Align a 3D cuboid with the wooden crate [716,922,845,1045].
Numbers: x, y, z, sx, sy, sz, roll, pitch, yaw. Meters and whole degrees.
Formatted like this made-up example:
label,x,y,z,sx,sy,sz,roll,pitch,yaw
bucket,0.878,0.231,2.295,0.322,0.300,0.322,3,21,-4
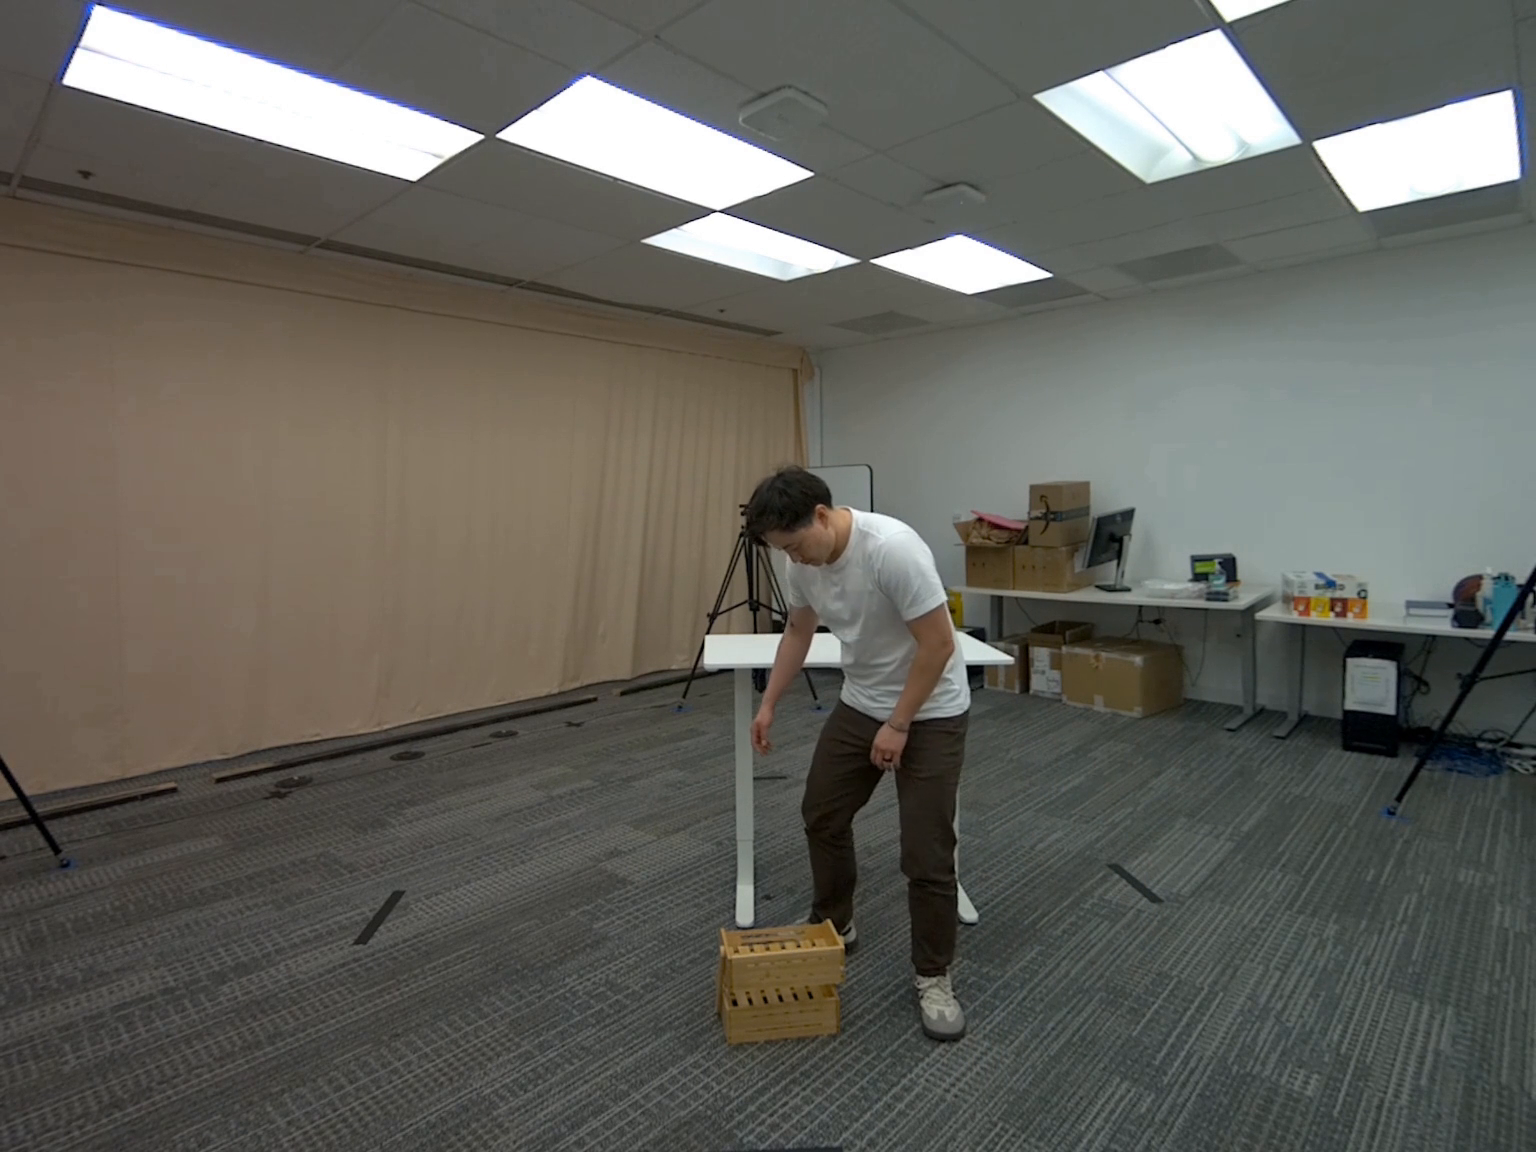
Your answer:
label,x,y,z,sx,sy,sz,roll,pitch,yaw
wooden crate,0.031,1.079,2.278,0.321,0.272,0.306,-2,9,-9
